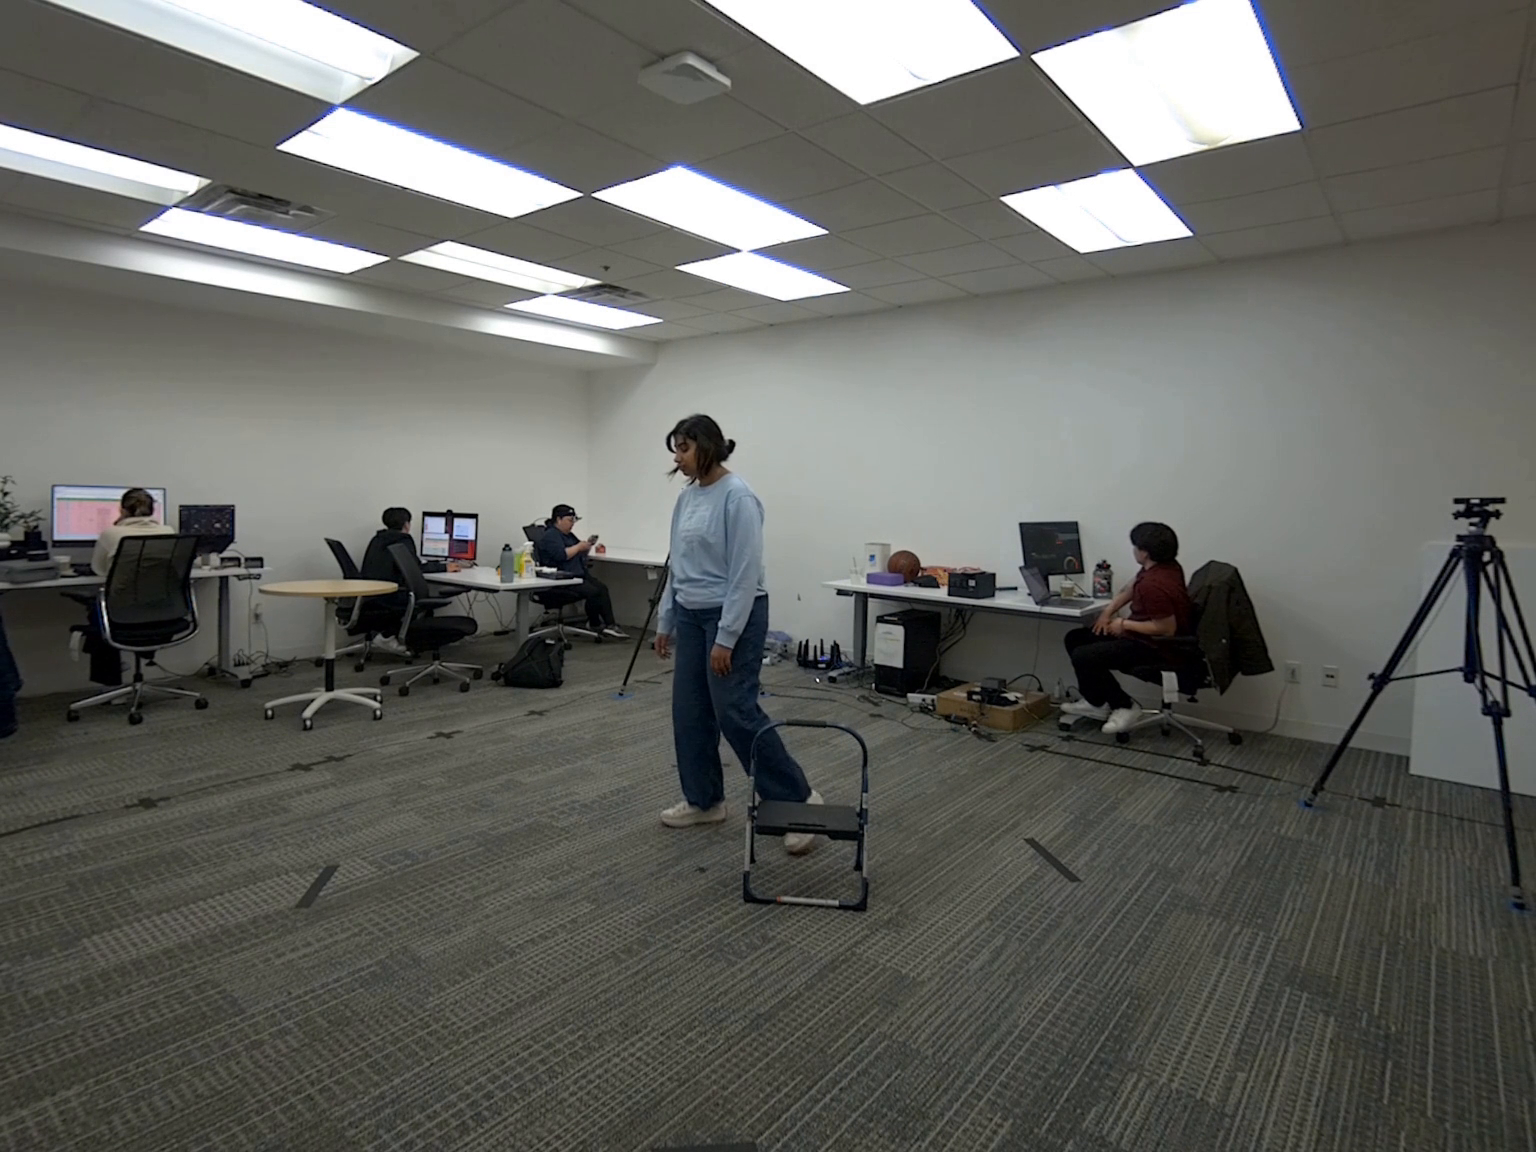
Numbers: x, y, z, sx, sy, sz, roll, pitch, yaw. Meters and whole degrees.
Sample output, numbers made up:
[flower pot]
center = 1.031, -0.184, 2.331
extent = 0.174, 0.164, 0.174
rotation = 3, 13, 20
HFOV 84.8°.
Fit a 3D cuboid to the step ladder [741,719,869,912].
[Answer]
[step ladder]
center = 0.133, 0.785, 2.994
extent = 0.433, 0.605, 0.348
rotation = 1, 2, 4
